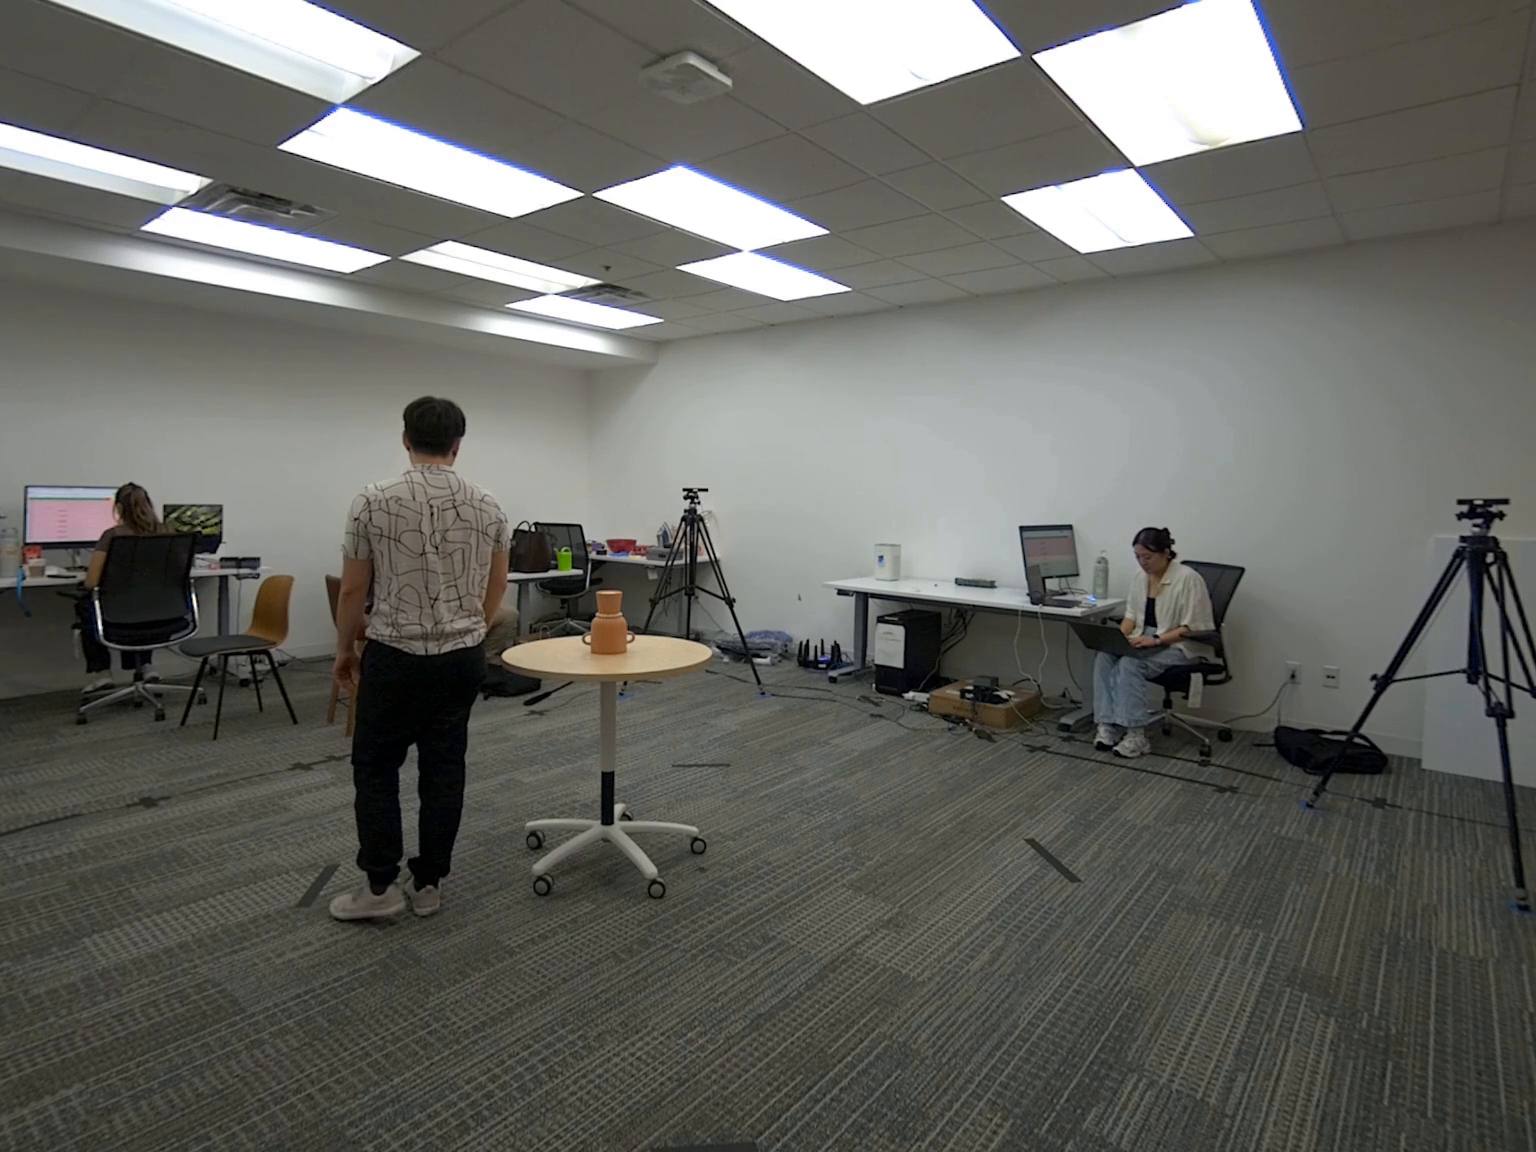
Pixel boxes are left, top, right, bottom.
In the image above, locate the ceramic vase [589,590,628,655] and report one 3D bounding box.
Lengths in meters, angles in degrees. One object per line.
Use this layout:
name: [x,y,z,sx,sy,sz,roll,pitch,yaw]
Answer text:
ceramic vase: [-0.607,0.169,3.146,0.138,0.219,0.155,2,4,30]
